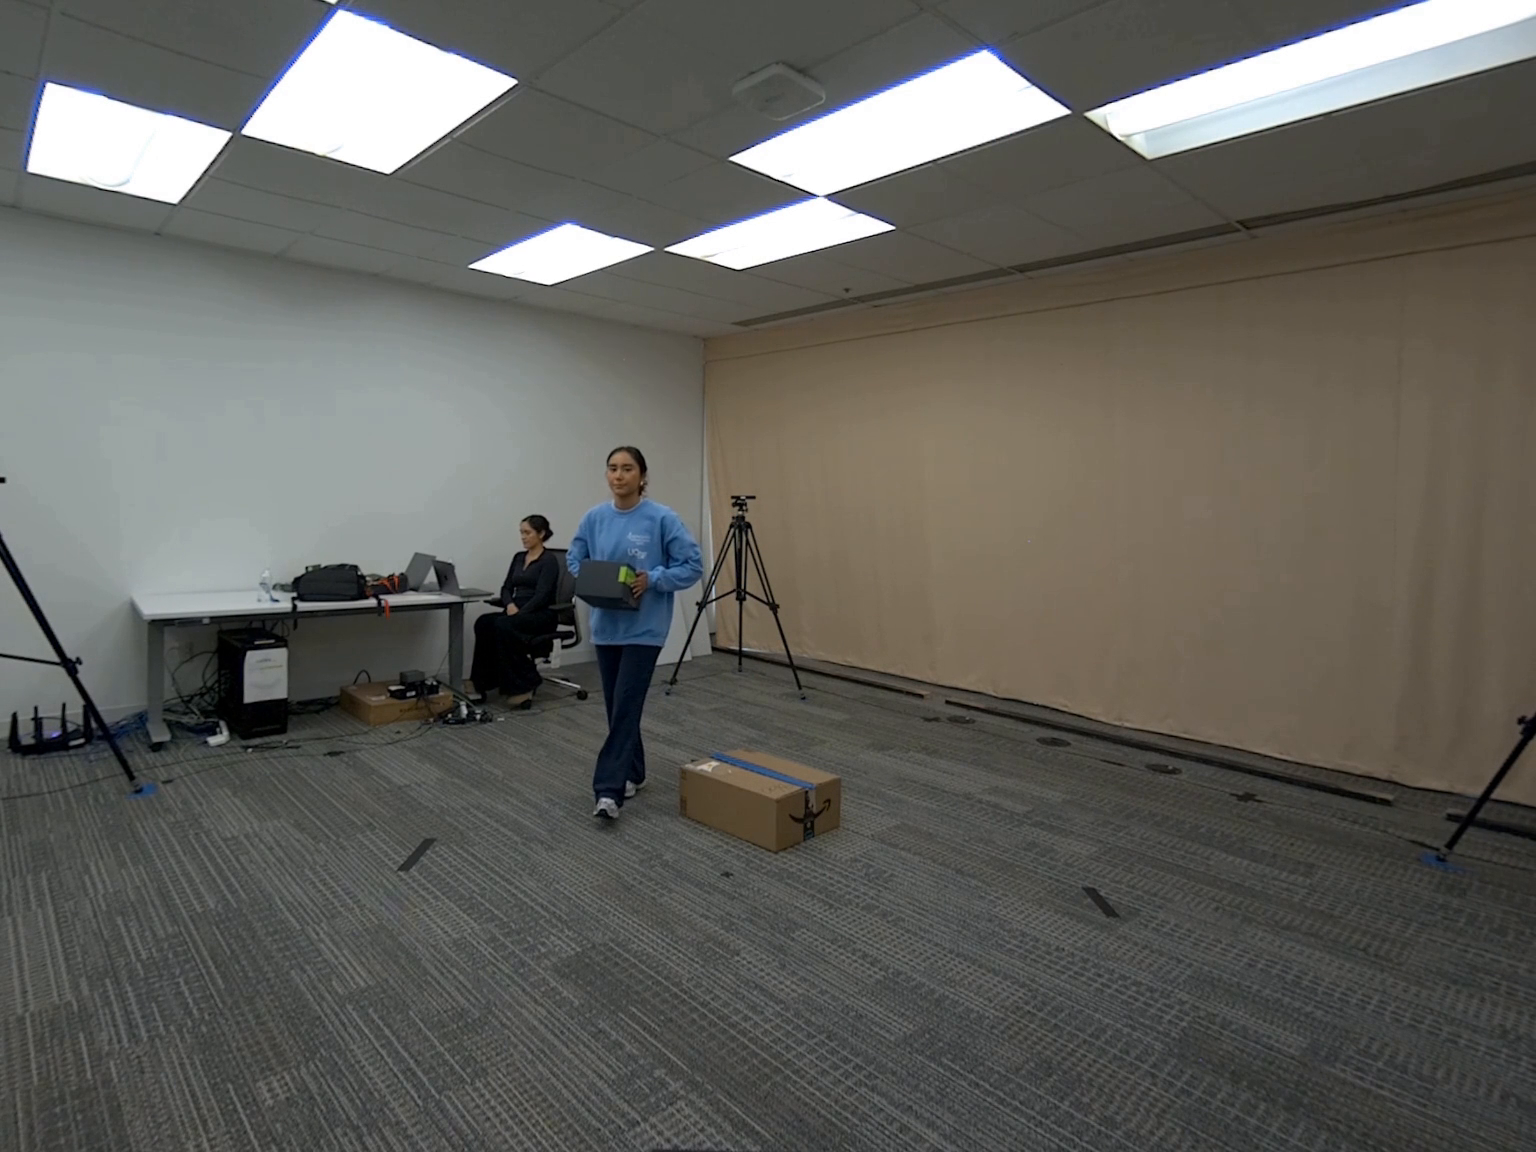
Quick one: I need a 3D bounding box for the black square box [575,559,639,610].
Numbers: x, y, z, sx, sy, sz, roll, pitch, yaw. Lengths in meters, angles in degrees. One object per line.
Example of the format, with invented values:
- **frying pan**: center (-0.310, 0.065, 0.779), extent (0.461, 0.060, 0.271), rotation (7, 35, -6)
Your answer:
- **black square box**: center (-0.695, 0.037, 3.581), extent (0.219, 0.157, 0.223), rotation (3, -16, 12)
